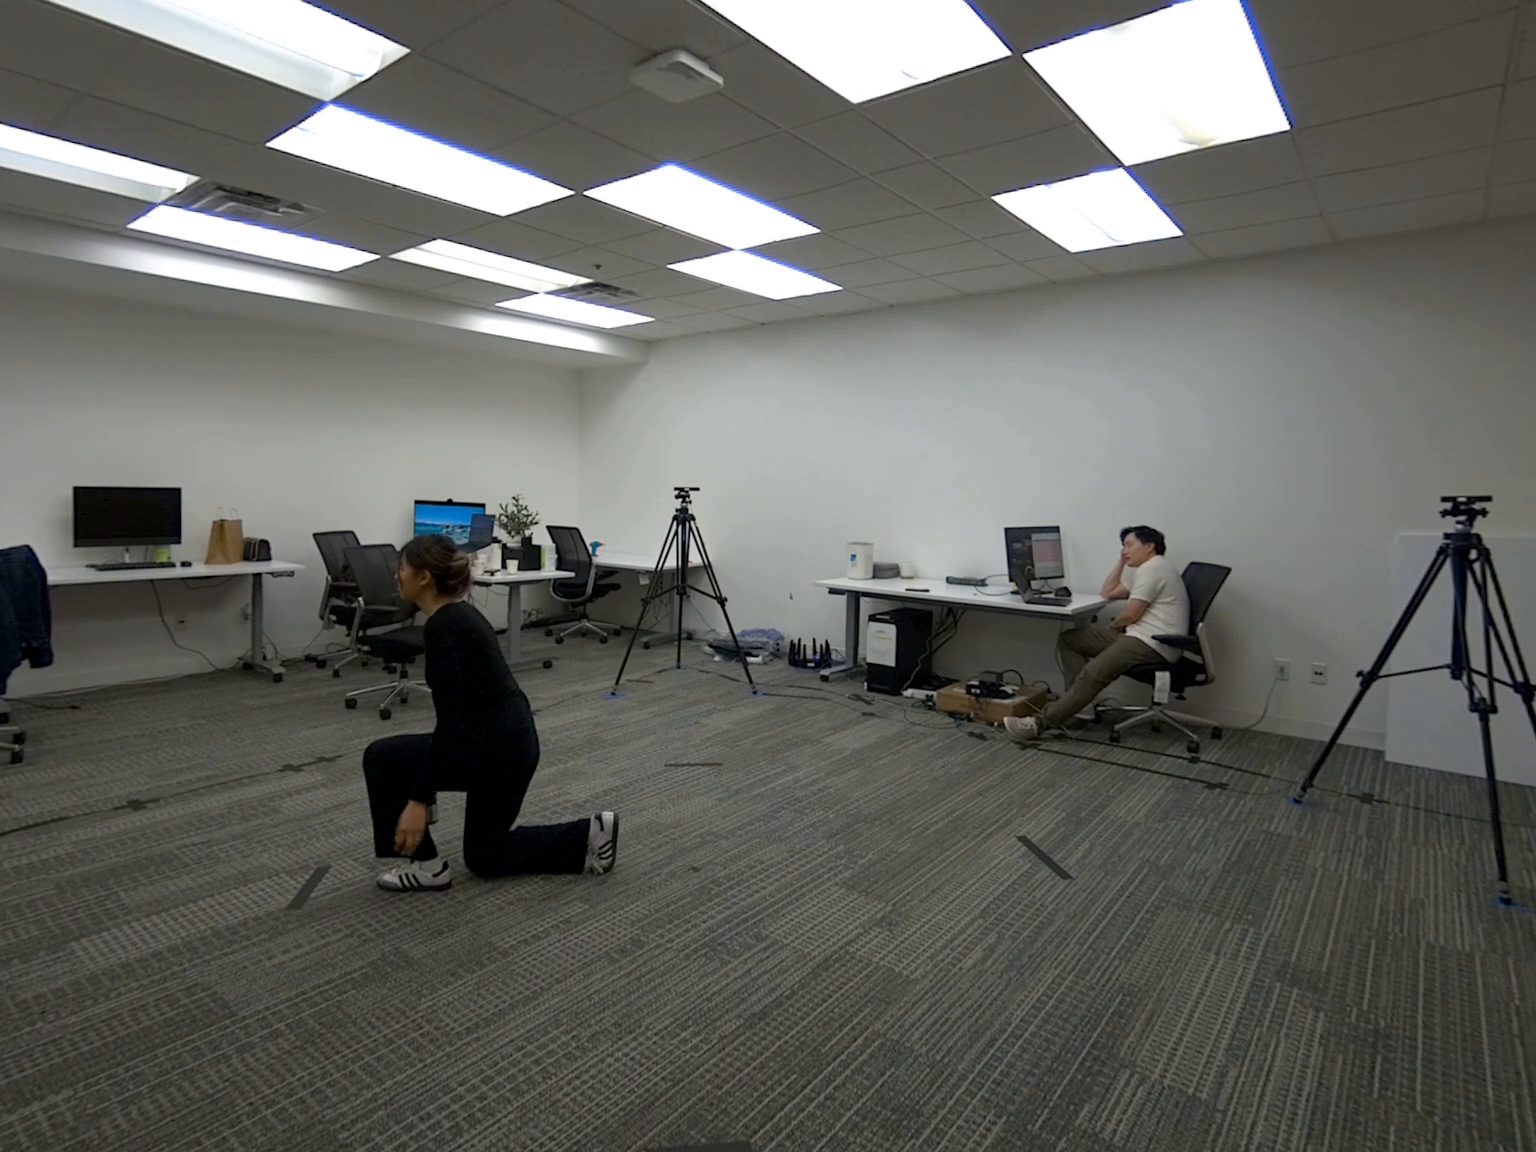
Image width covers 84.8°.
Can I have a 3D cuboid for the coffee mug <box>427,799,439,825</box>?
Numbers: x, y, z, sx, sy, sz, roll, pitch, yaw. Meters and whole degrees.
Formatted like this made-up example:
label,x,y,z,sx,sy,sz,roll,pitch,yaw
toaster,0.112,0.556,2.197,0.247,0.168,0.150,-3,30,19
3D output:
label,x,y,z,sx,sy,sz,roll,pitch,yaw
coffee mug,-1.318,0.811,3.218,0.091,0.203,0.118,2,-1,38
